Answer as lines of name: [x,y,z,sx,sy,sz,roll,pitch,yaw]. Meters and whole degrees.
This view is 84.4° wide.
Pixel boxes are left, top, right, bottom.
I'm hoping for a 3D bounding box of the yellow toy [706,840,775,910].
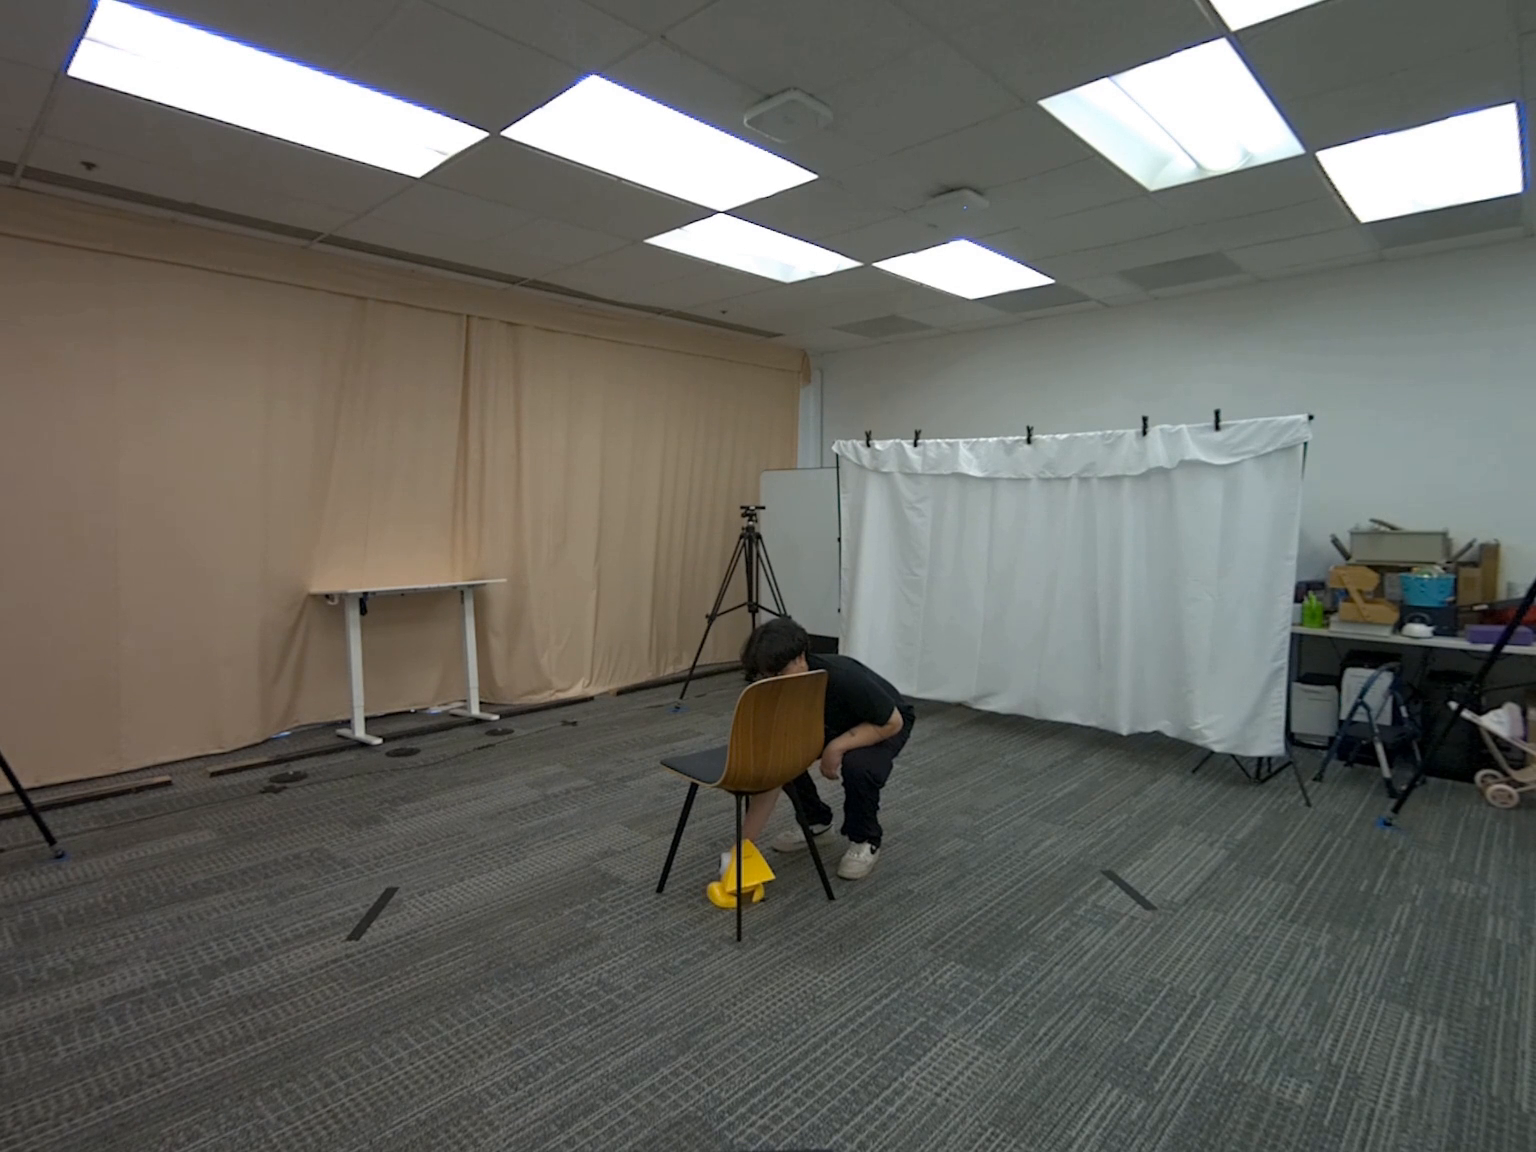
yellow toy: [-0.104,1.032,2.995,0.199,0.230,0.199,0,6,-31]
